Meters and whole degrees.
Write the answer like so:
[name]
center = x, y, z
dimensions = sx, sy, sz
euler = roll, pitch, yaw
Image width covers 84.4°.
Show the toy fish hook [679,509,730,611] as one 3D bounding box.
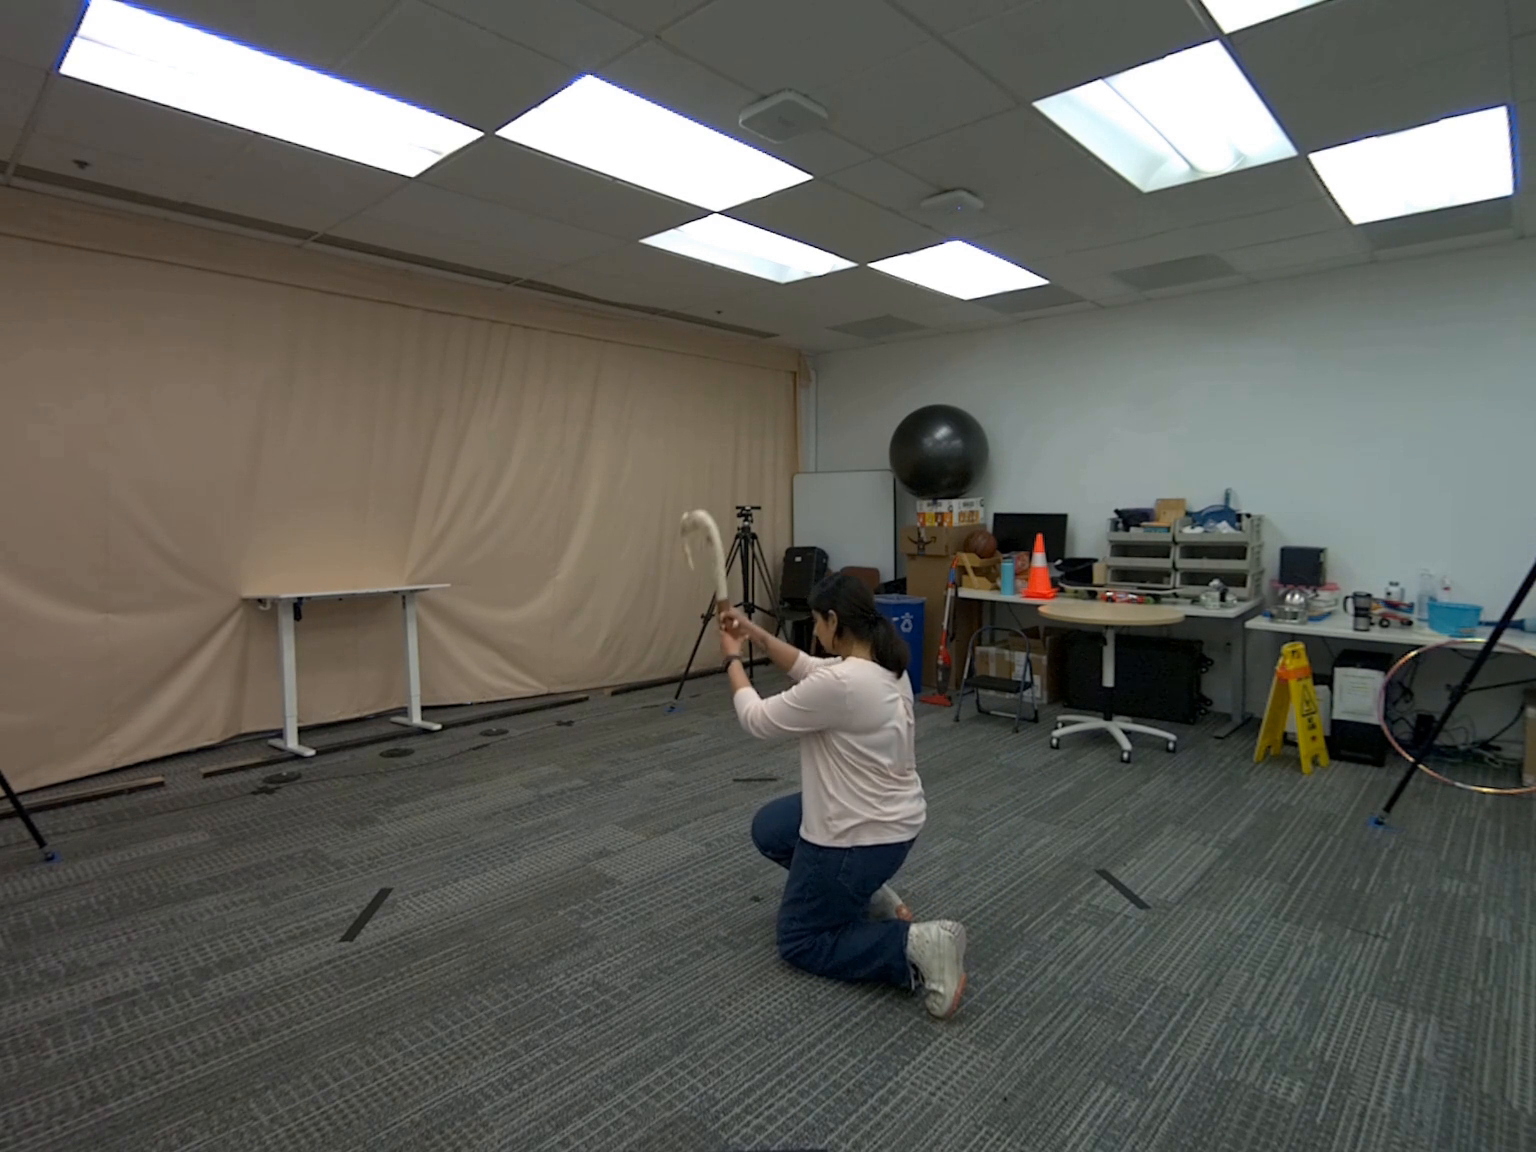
[toy fish hook]
center = -0.168, 0.044, 2.823
dimensions = 0.047, 0.507, 0.230
euler = -13, 0, -33
